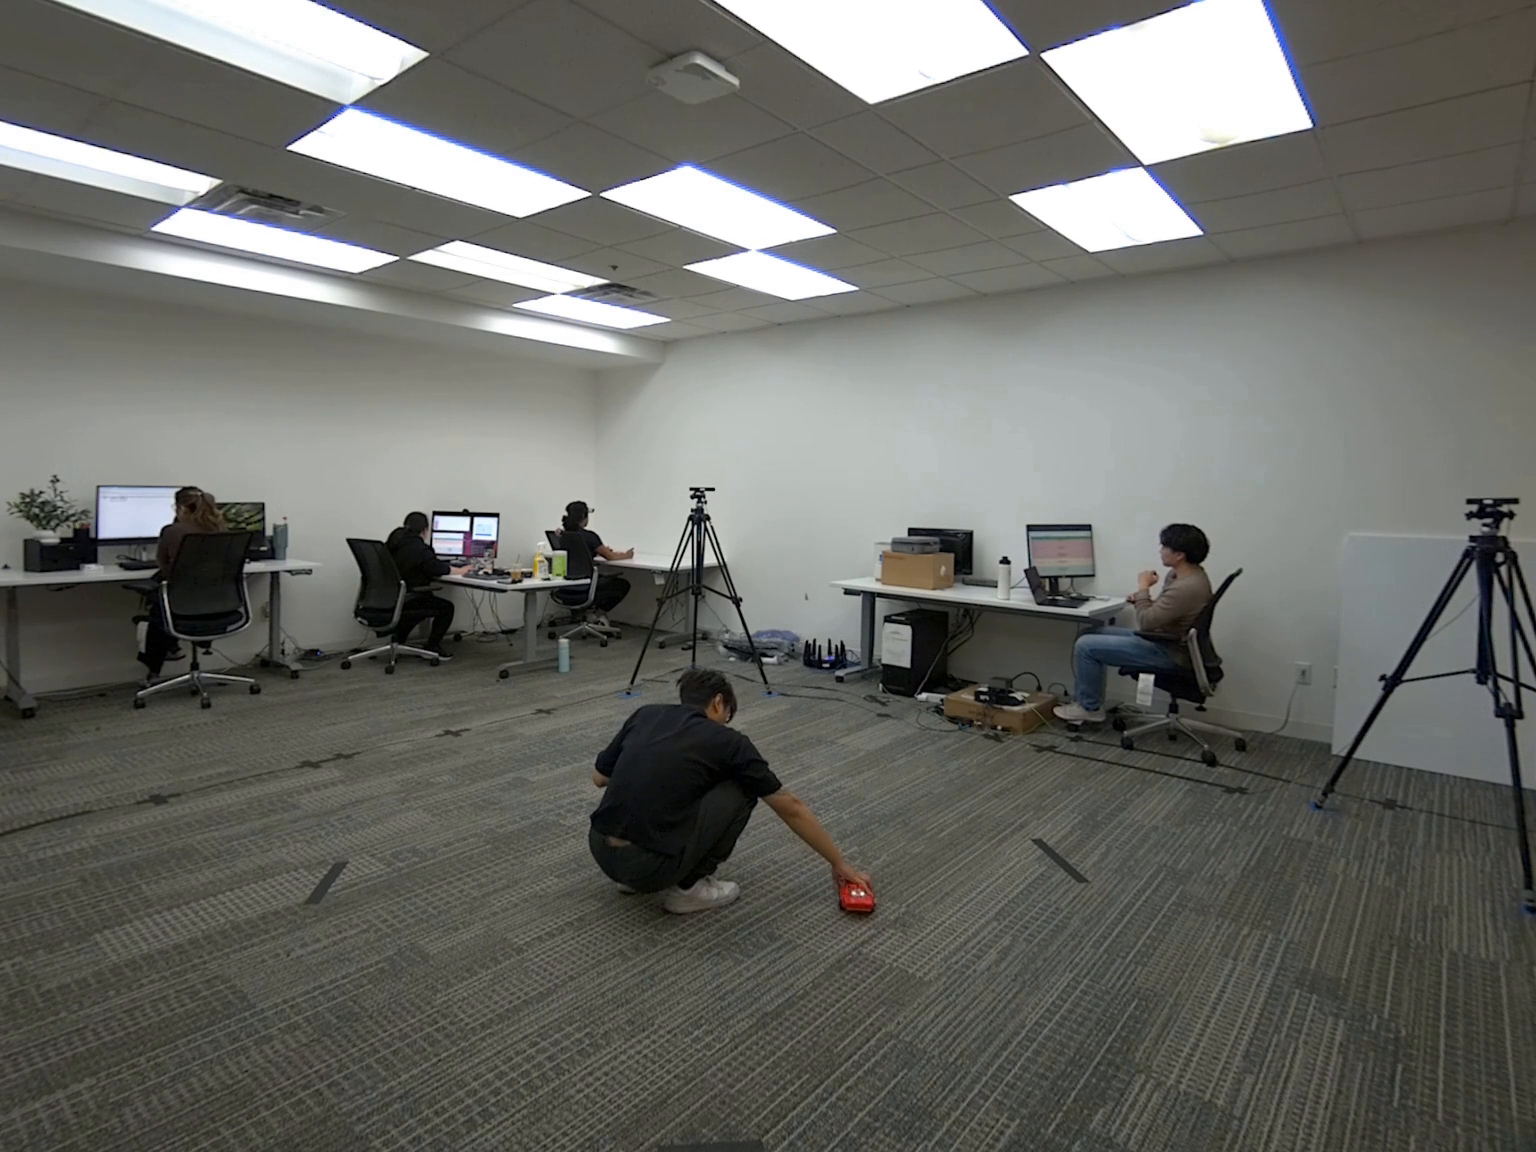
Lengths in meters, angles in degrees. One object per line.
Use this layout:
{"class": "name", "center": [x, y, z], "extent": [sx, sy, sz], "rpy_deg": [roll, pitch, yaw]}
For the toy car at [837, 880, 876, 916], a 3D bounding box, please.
{"class": "toy car", "center": [0.284, 1.073, 2.875], "extent": [0.130, 0.084, 0.252], "rpy_deg": [2, -7, -1]}
